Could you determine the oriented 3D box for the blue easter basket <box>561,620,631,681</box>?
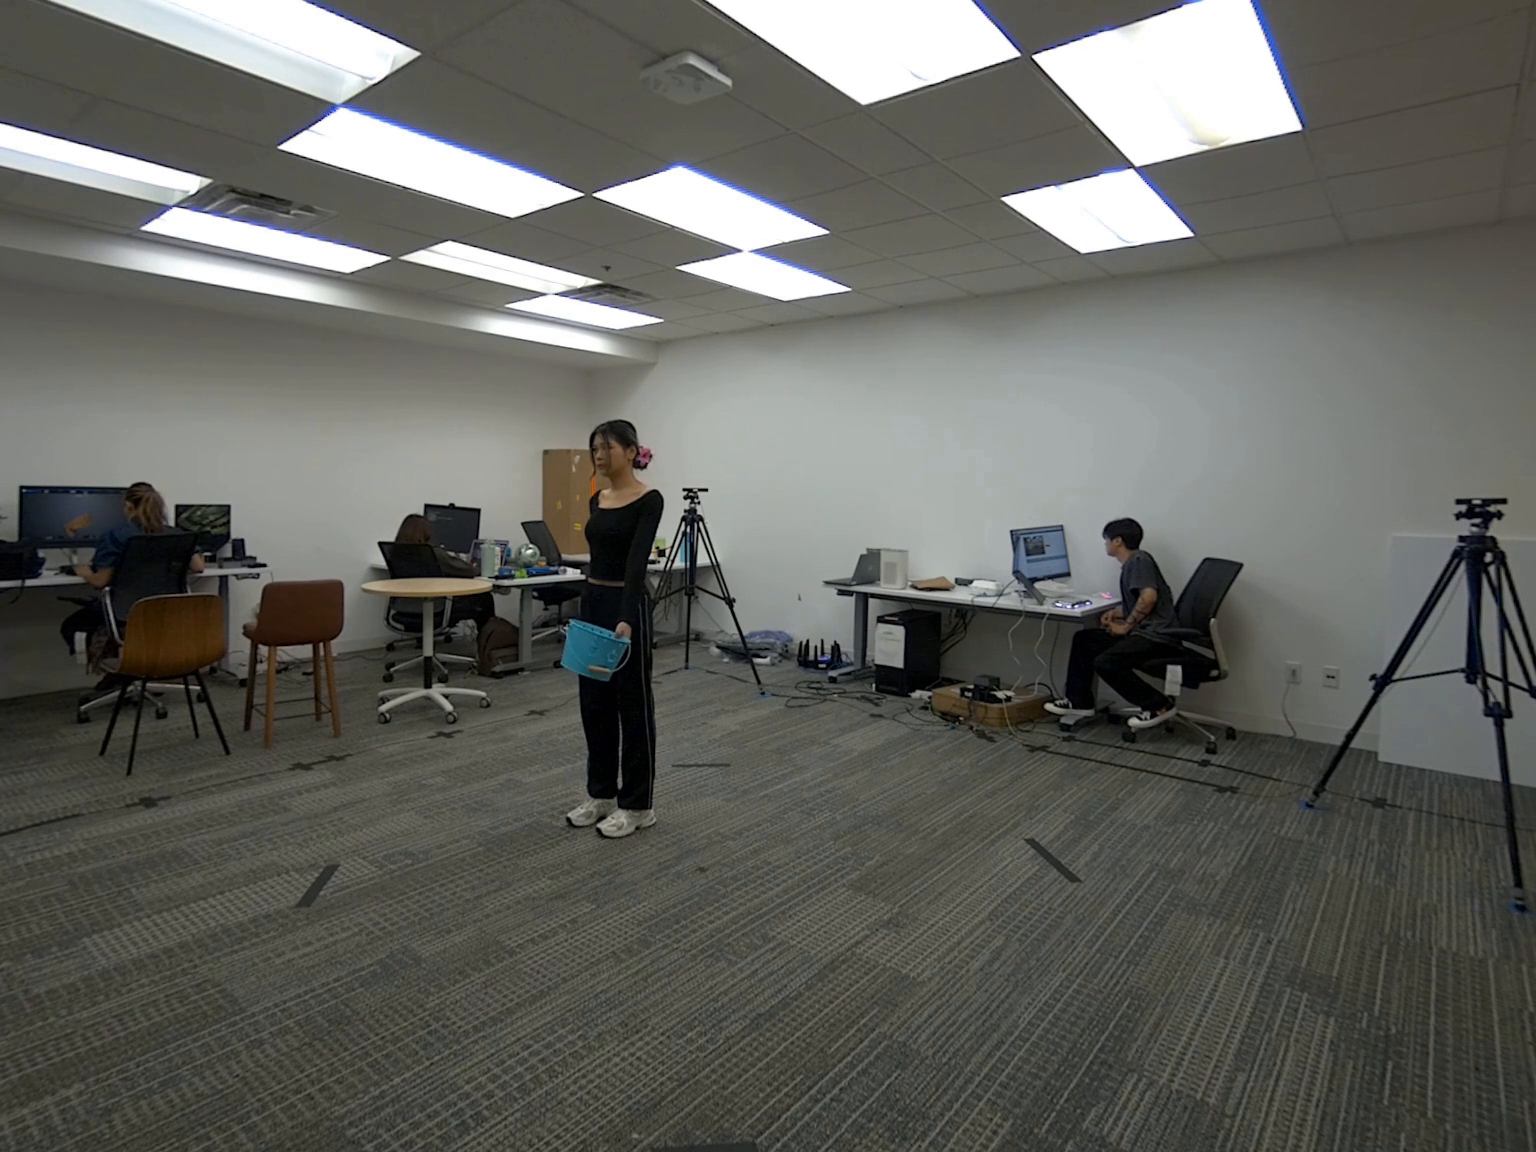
[{"bbox_3d":[-0.617,0.258,2.983,0.243,0.156,0.243,18,-1,-1],"label":"blue easter basket"}]
